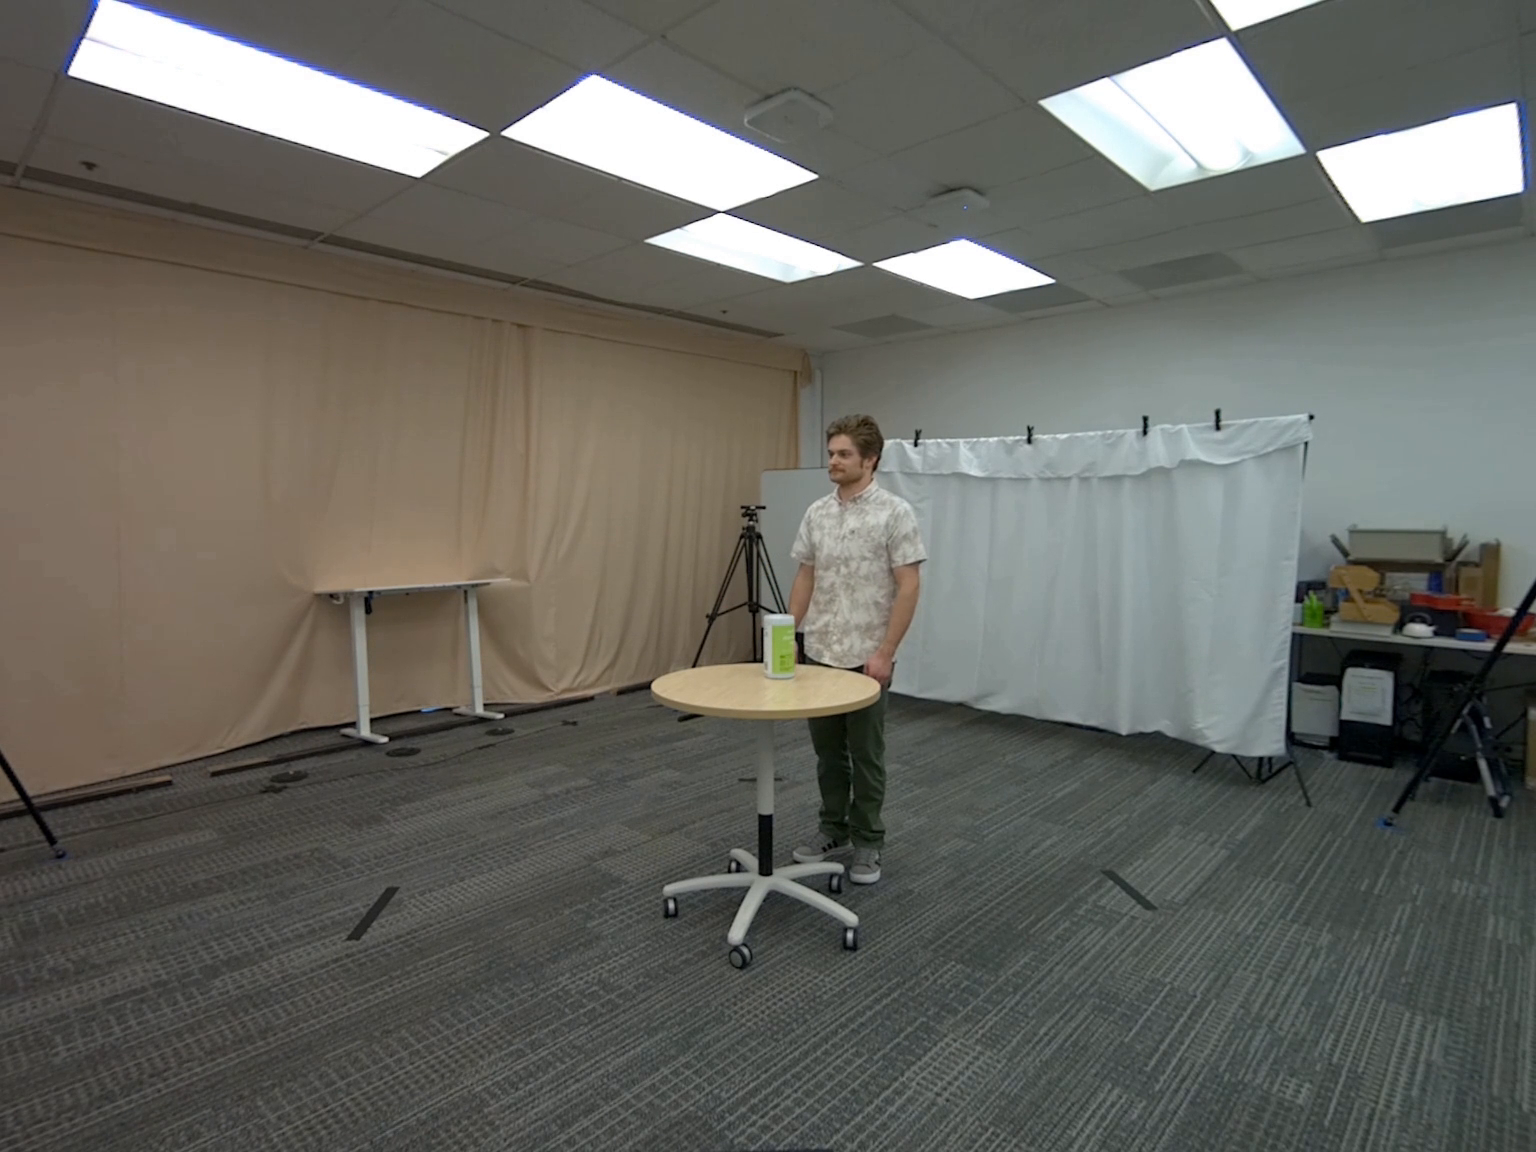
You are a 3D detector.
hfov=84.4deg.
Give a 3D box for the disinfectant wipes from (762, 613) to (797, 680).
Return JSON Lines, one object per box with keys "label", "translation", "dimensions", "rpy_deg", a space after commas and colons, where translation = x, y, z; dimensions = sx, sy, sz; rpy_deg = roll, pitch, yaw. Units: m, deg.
{"label": "disinfectant wipes", "translation": [0.038, 0.248, 2.949], "dimensions": [0.117, 0.217, 0.118], "rpy_deg": [2, 2, -2]}
